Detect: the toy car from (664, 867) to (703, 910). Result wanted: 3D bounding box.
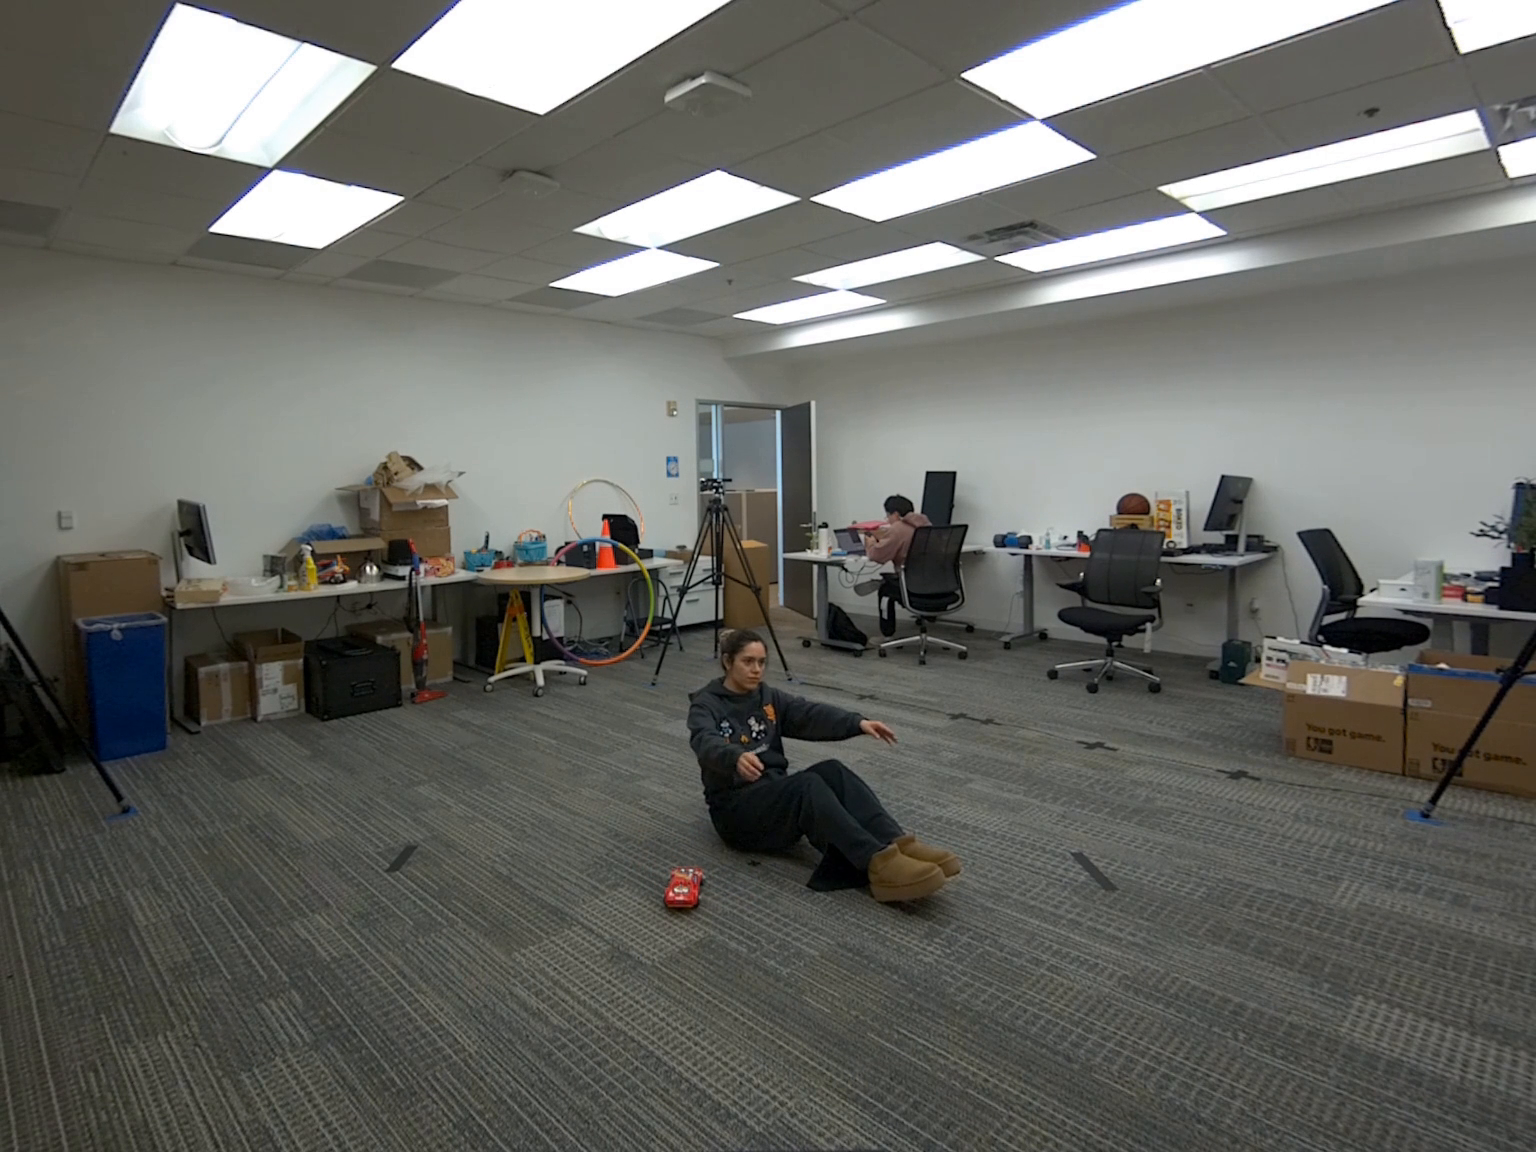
[{"bbox_3d":[-0.281,1.047,2.841,0.131,0.084,0.252,0,-6,2],"label":"toy car"}]
